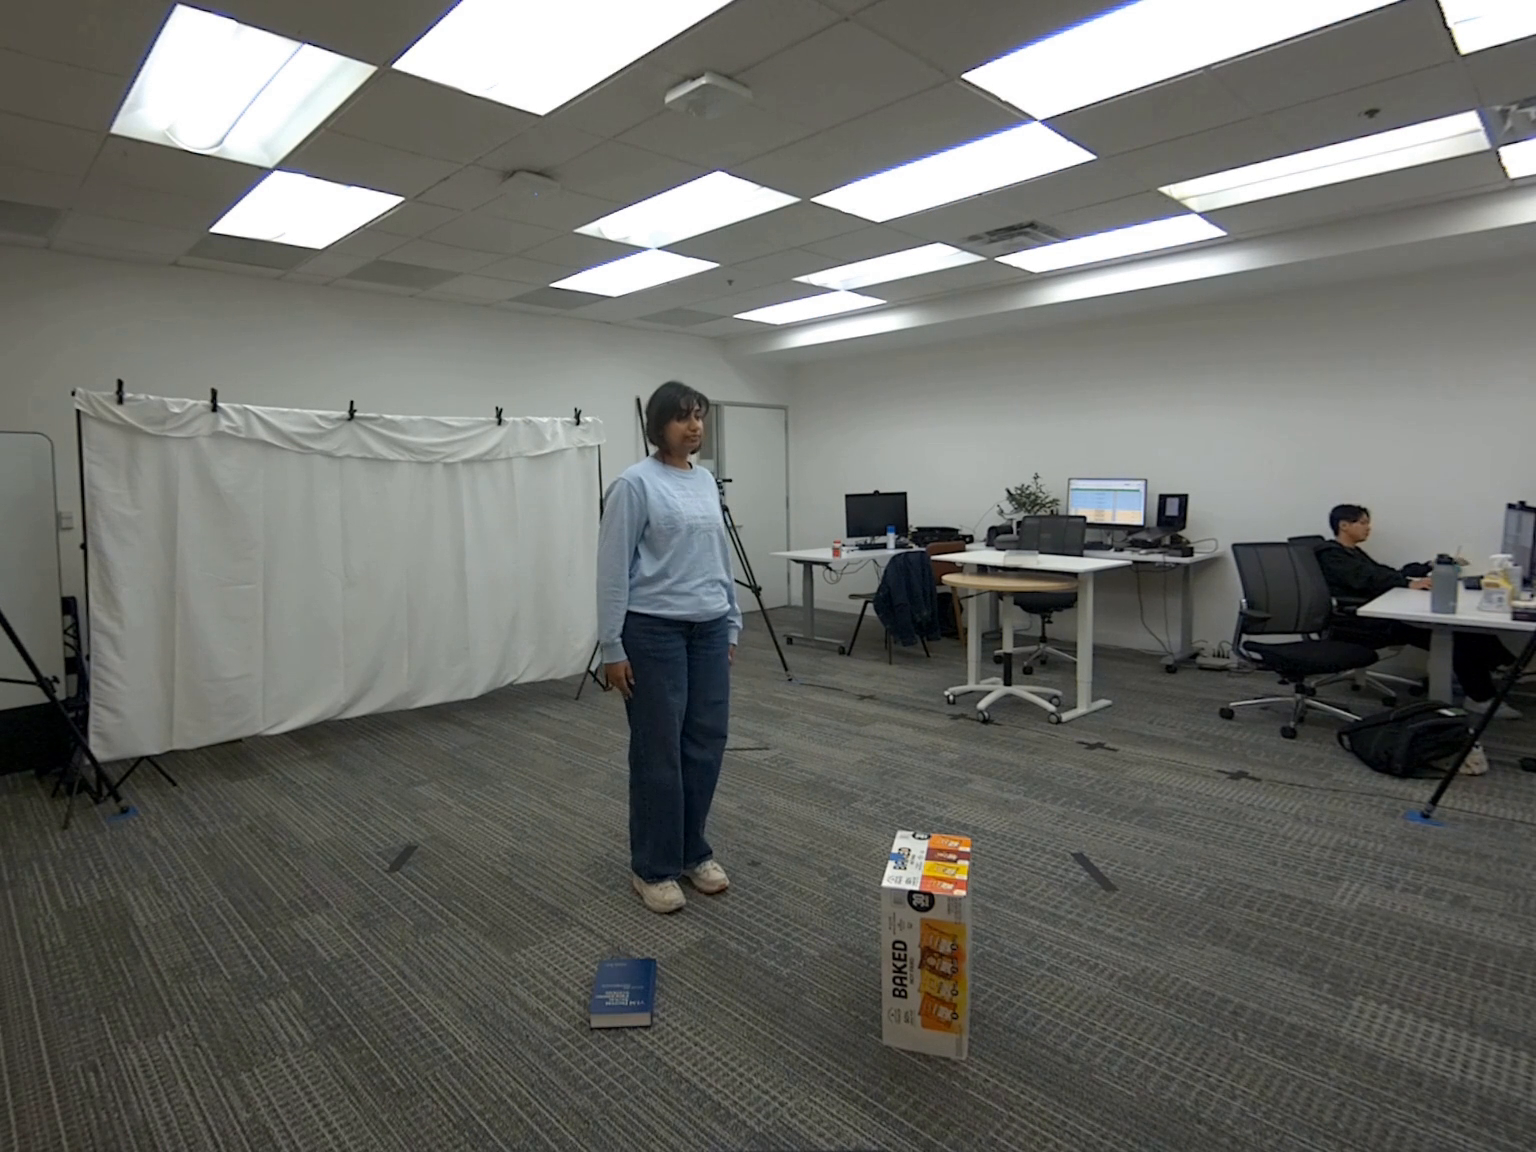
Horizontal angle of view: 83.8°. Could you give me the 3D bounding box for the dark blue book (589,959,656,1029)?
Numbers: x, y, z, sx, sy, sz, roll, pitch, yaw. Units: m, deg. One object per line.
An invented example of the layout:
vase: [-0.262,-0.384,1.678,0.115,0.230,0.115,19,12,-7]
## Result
dark blue book: [-0.391,1.129,2.309,0.163,0.045,0.247,-2,7,-3]
